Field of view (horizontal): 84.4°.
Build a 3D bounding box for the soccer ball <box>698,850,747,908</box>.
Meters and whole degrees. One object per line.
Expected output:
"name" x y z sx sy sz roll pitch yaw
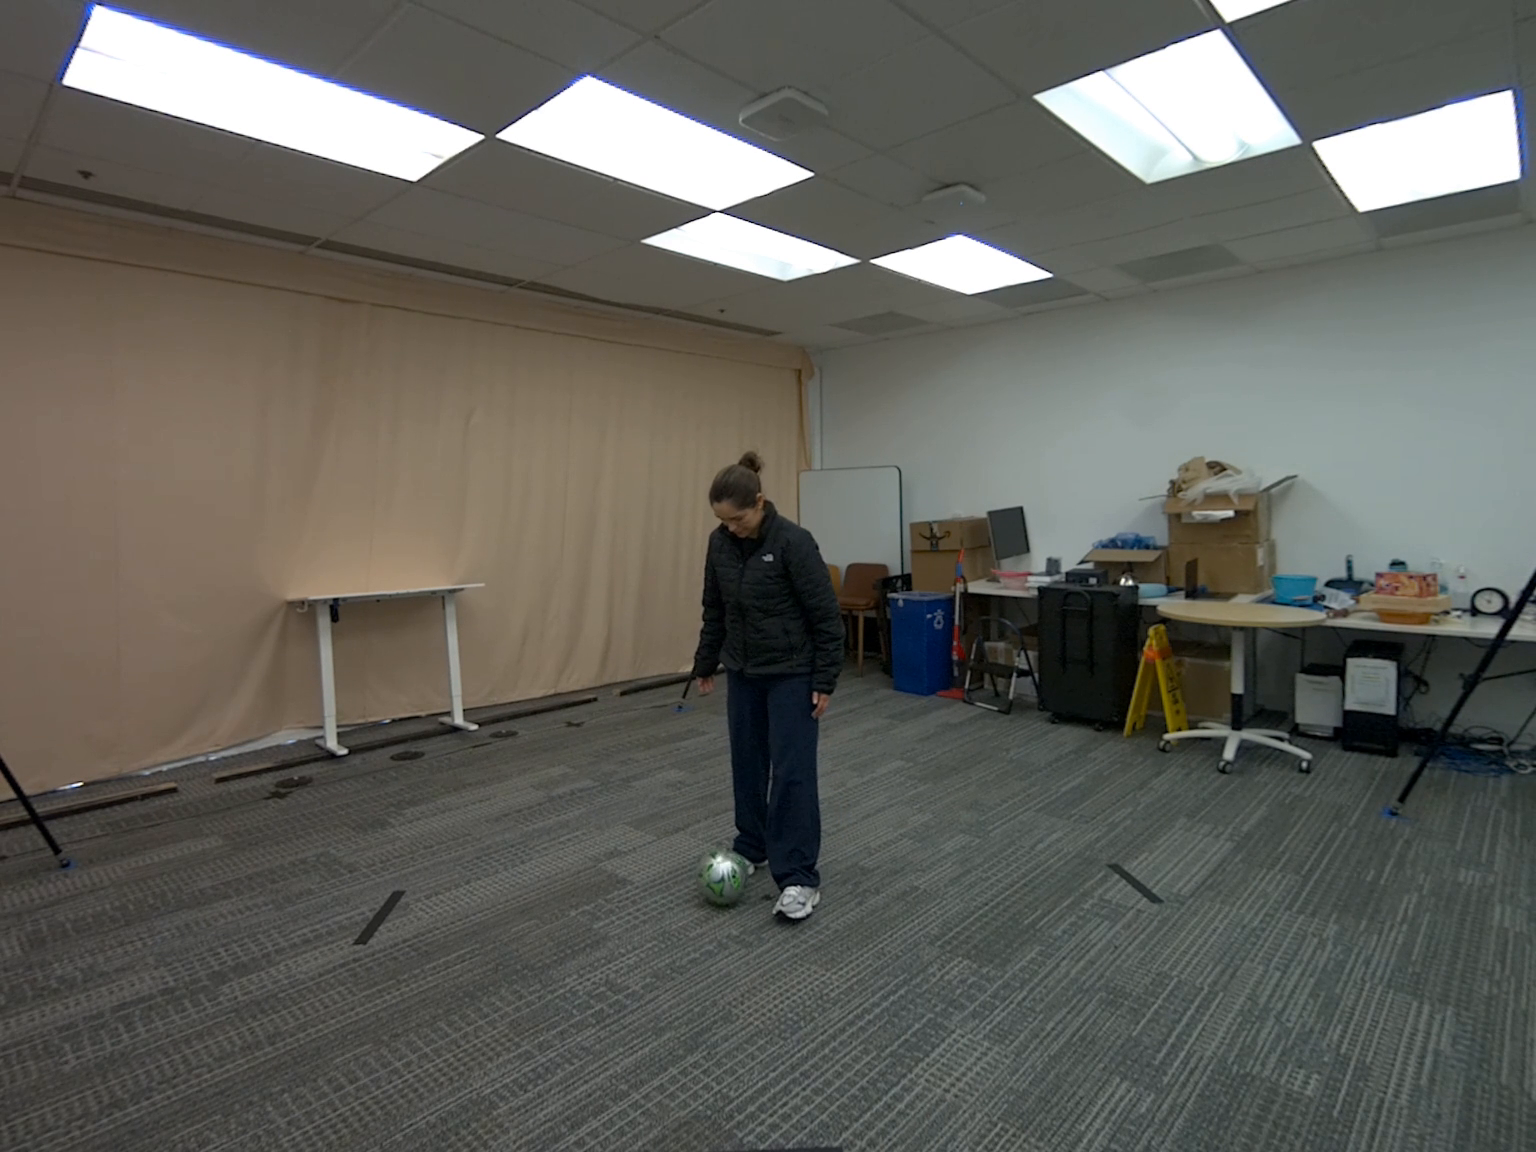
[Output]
"soccer ball" -0.159 1.051 2.950 0.187 0.187 0.188 -1 4 -2
